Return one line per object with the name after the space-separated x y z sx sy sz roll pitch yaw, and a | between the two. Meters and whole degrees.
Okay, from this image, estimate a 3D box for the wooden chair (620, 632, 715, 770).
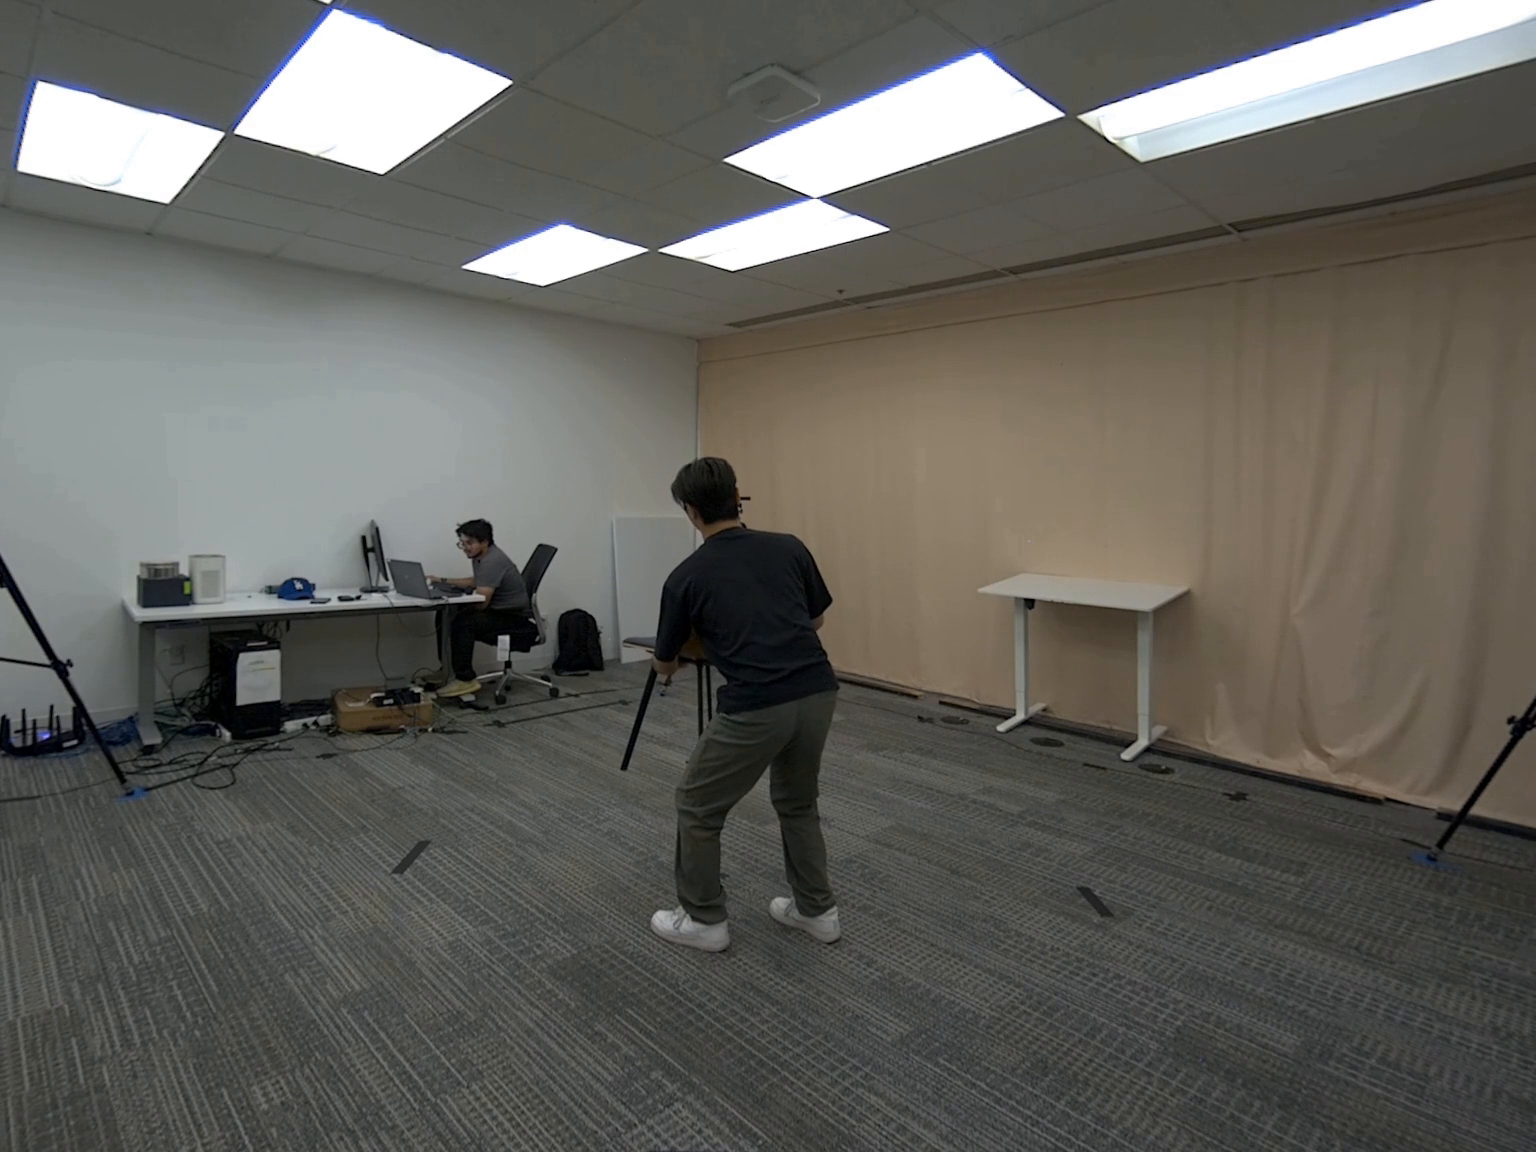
-0.240 0.296 3.072 0.468 0.873 0.537 -5 9 -44 | wooden chair
